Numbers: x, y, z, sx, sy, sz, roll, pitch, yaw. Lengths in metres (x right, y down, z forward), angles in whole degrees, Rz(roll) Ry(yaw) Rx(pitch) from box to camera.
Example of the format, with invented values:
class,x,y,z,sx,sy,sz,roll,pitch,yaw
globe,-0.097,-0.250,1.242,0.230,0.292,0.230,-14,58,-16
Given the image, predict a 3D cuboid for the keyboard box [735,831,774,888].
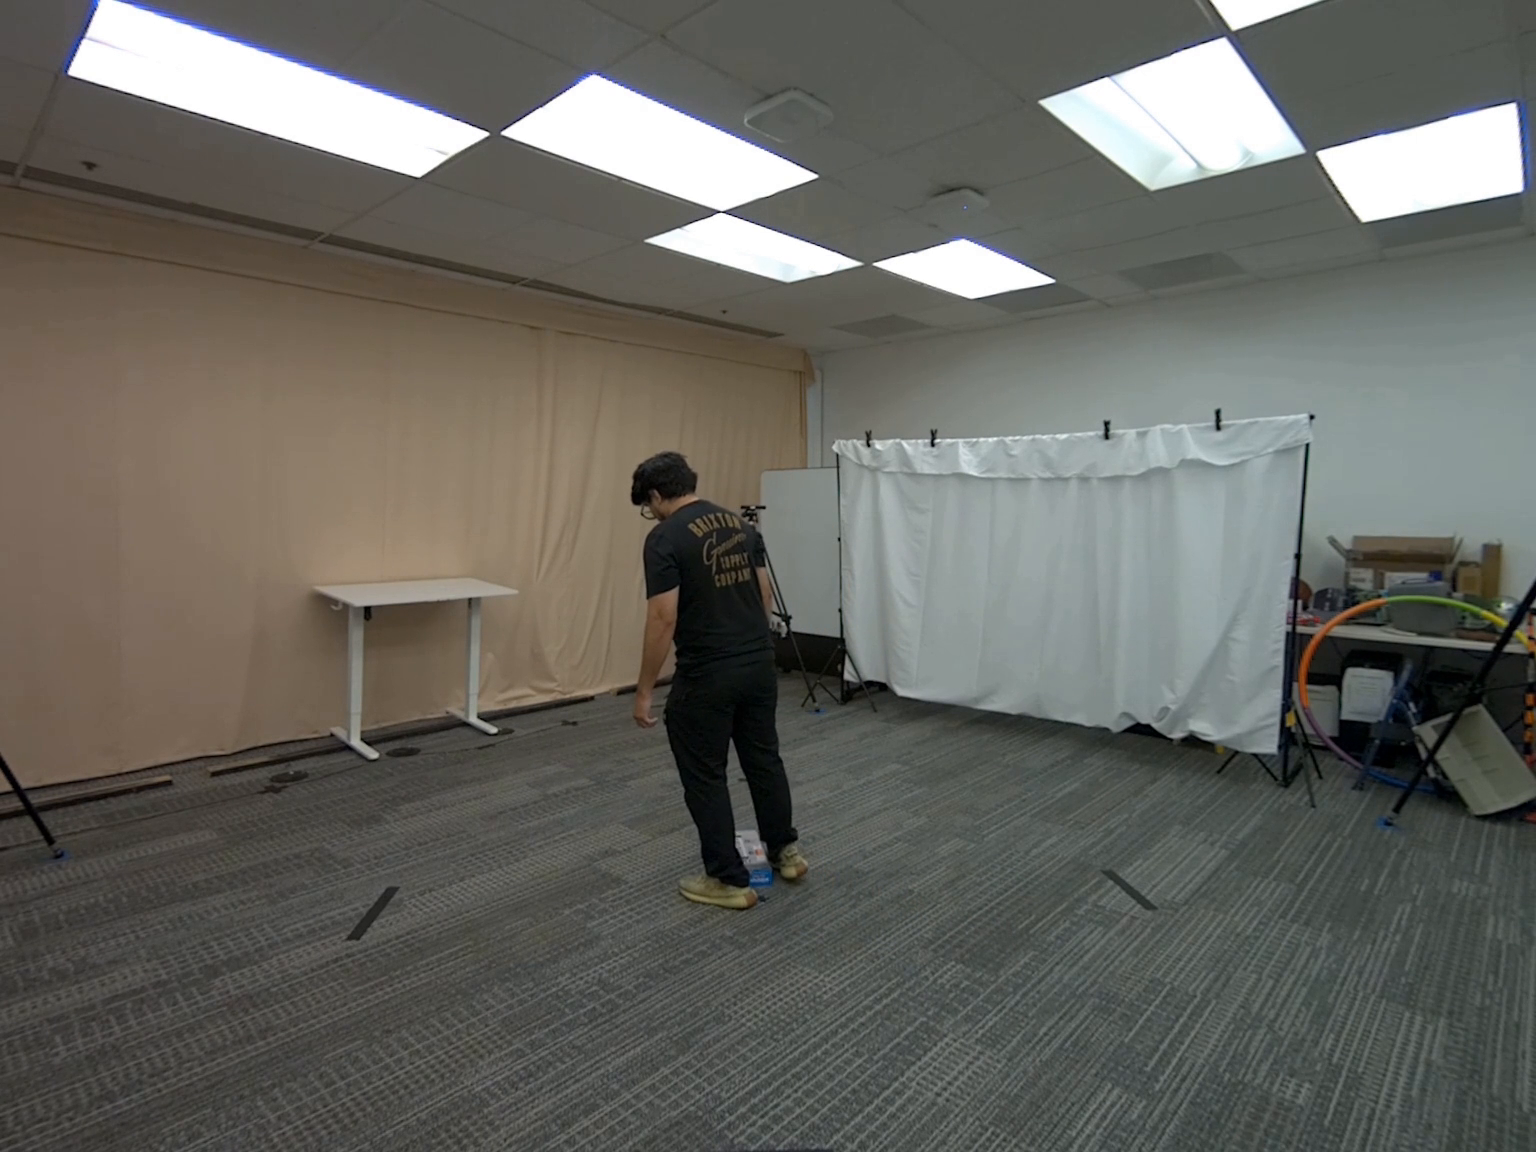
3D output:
class,x,y,z,sx,sy,sz,roll,pitch,yaw
keyboard box,-0.108,1.088,3.294,0.174,0.059,0.441,-1,5,-9
